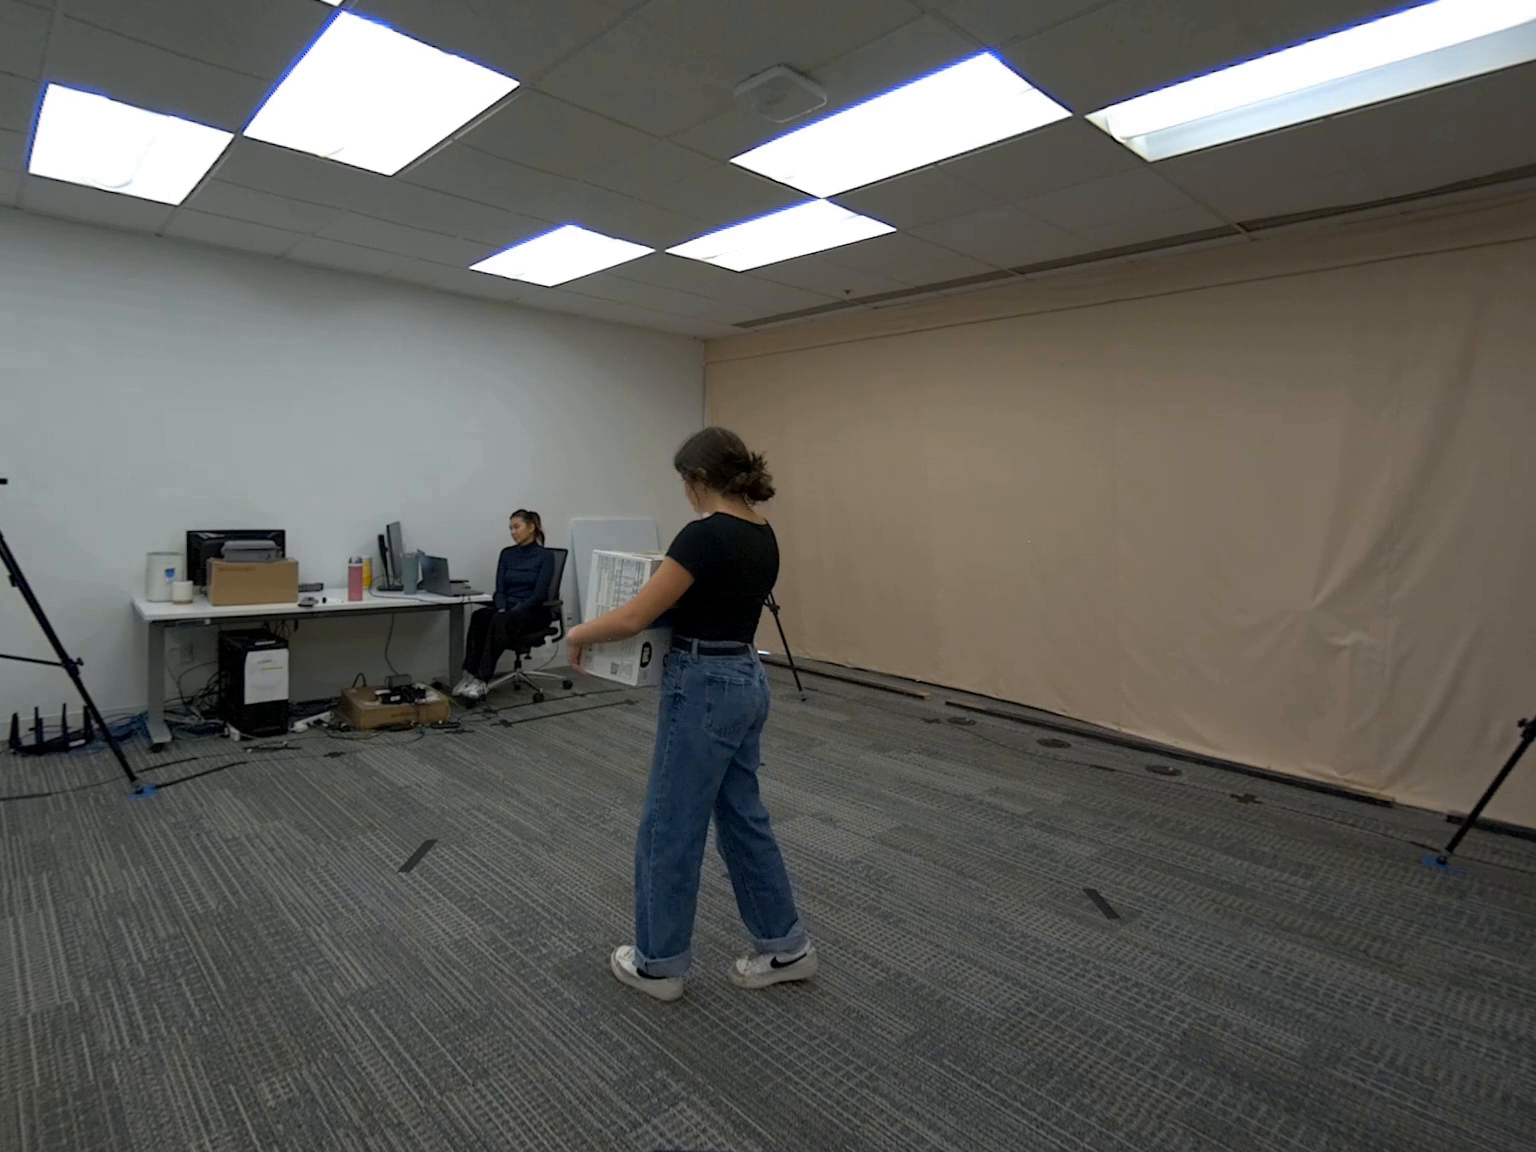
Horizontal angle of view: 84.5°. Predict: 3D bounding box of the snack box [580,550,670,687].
[{"bbox_3d":[-0.328,0.107,2.436,0.210,0.340,0.397,8,3,28],"label":"snack box"}]
